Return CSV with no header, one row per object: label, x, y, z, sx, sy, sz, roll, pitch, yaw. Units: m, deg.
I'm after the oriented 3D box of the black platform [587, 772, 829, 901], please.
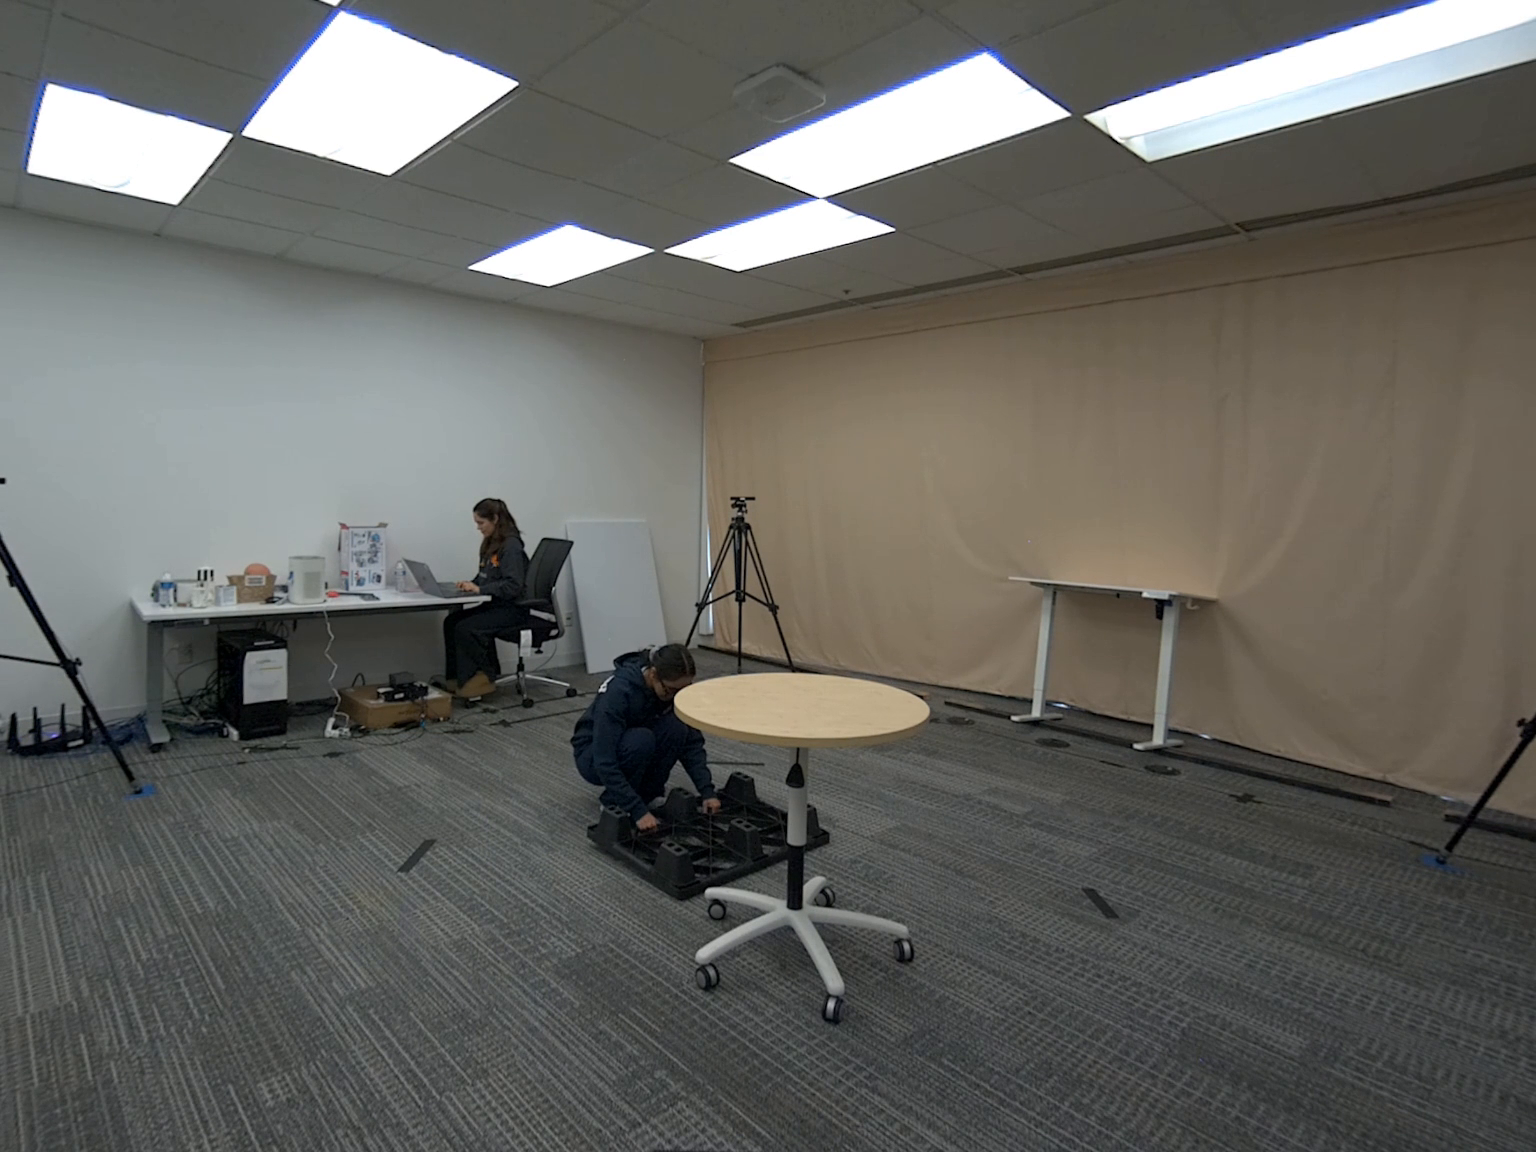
black platform,-0.237,0.999,3.366,0.787,0.143,0.622,-4,10,-44
